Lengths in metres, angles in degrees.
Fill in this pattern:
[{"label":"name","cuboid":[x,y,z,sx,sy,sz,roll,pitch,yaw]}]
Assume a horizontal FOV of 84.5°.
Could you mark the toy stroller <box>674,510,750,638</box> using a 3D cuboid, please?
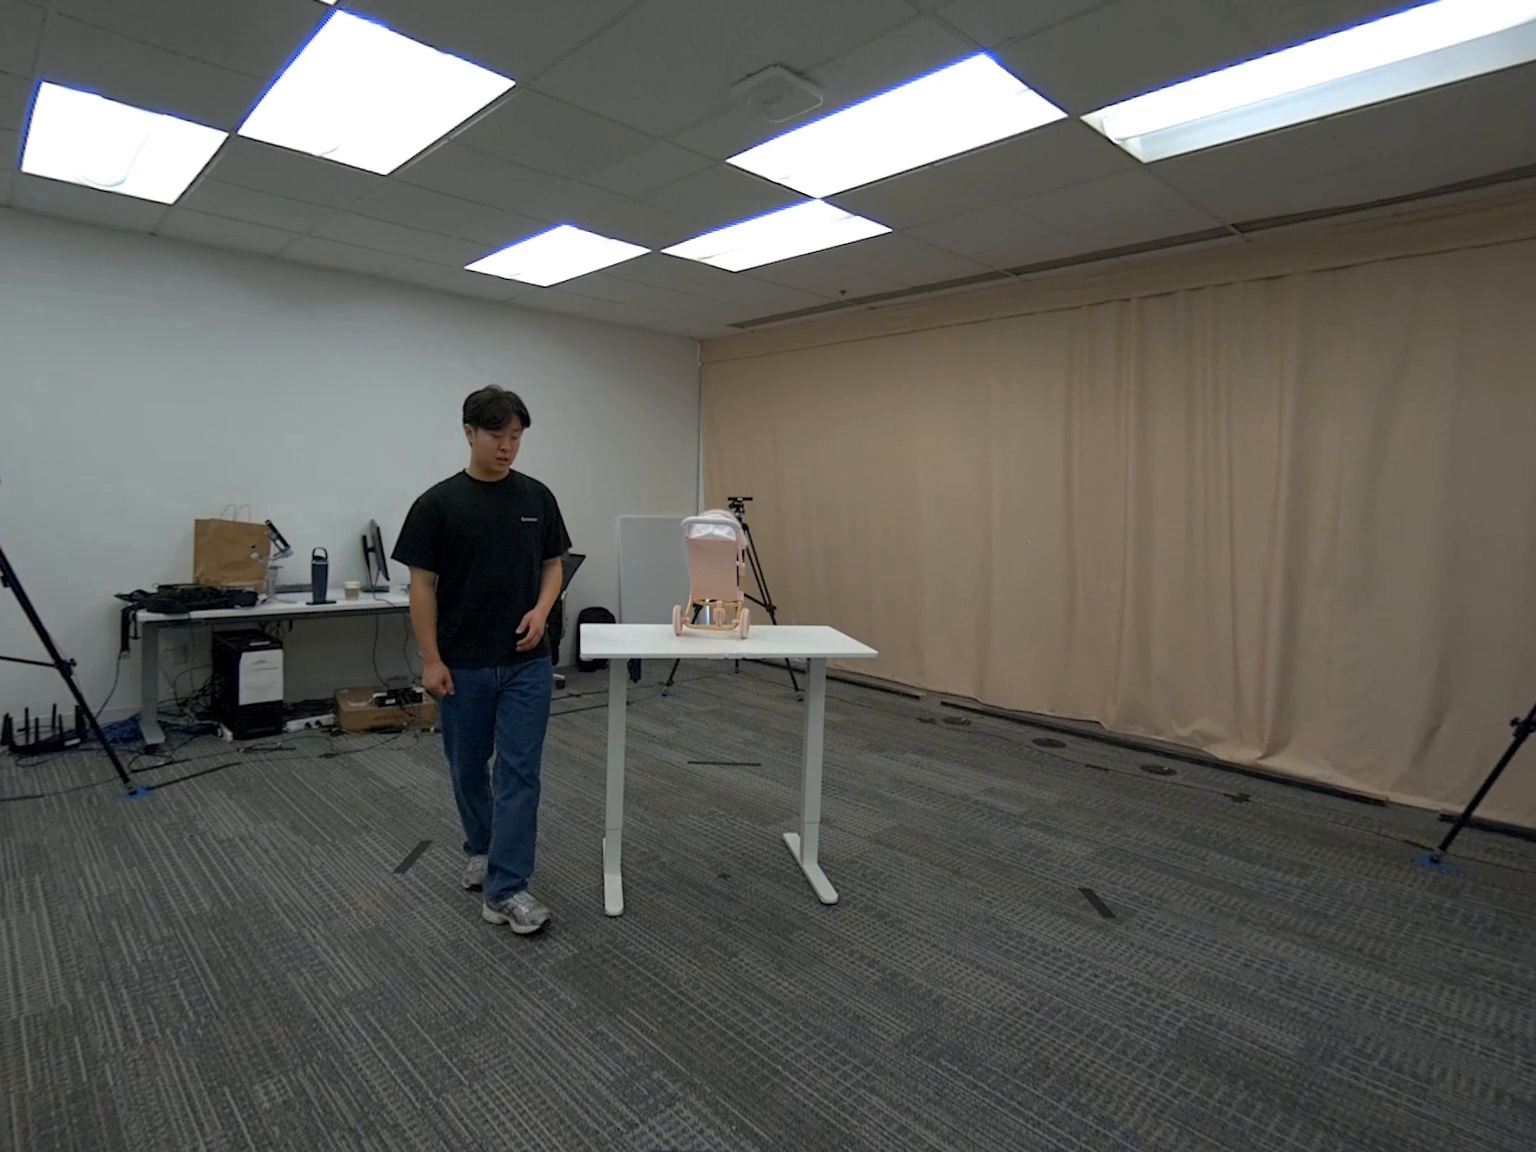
[{"label":"toy stroller","cuboid":[-0.200,-0.005,3.146,0.284,0.528,0.343,3,19,9]}]
